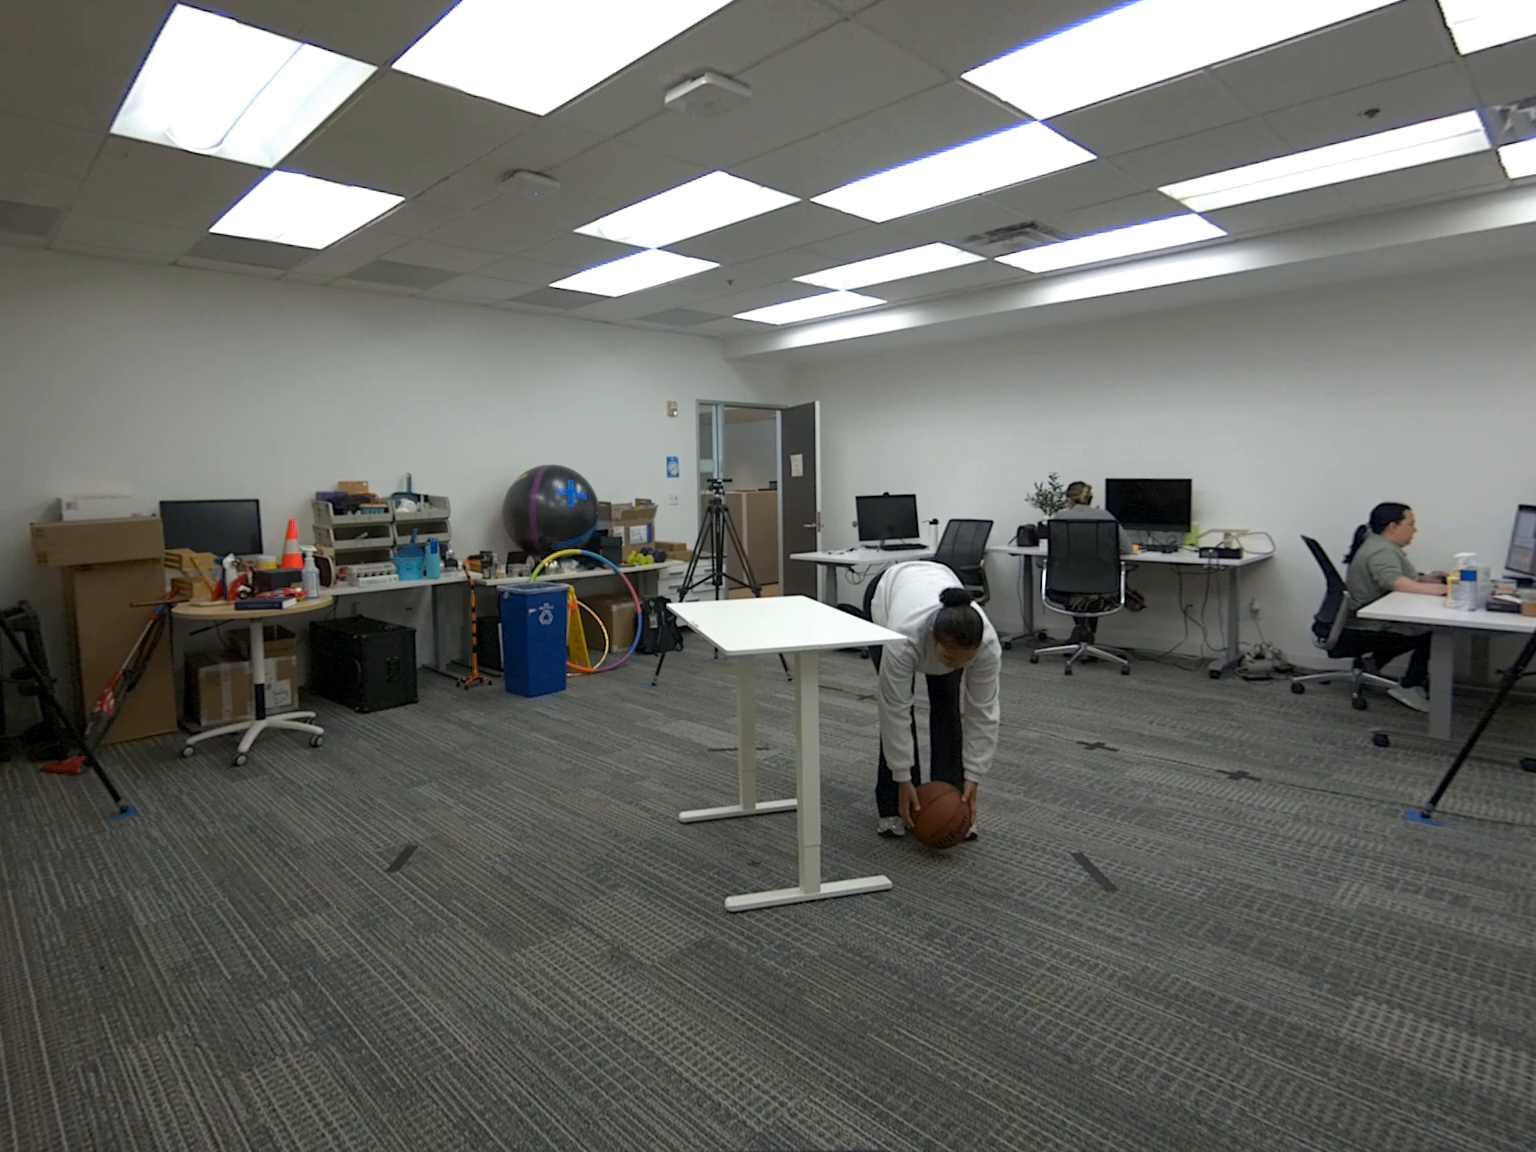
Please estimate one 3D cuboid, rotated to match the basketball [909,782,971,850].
[{"bbox_3d":[0.628,0.866,3.155,0.236,0.235,0.237,-1,5,-2],"label":"basketball"}]
